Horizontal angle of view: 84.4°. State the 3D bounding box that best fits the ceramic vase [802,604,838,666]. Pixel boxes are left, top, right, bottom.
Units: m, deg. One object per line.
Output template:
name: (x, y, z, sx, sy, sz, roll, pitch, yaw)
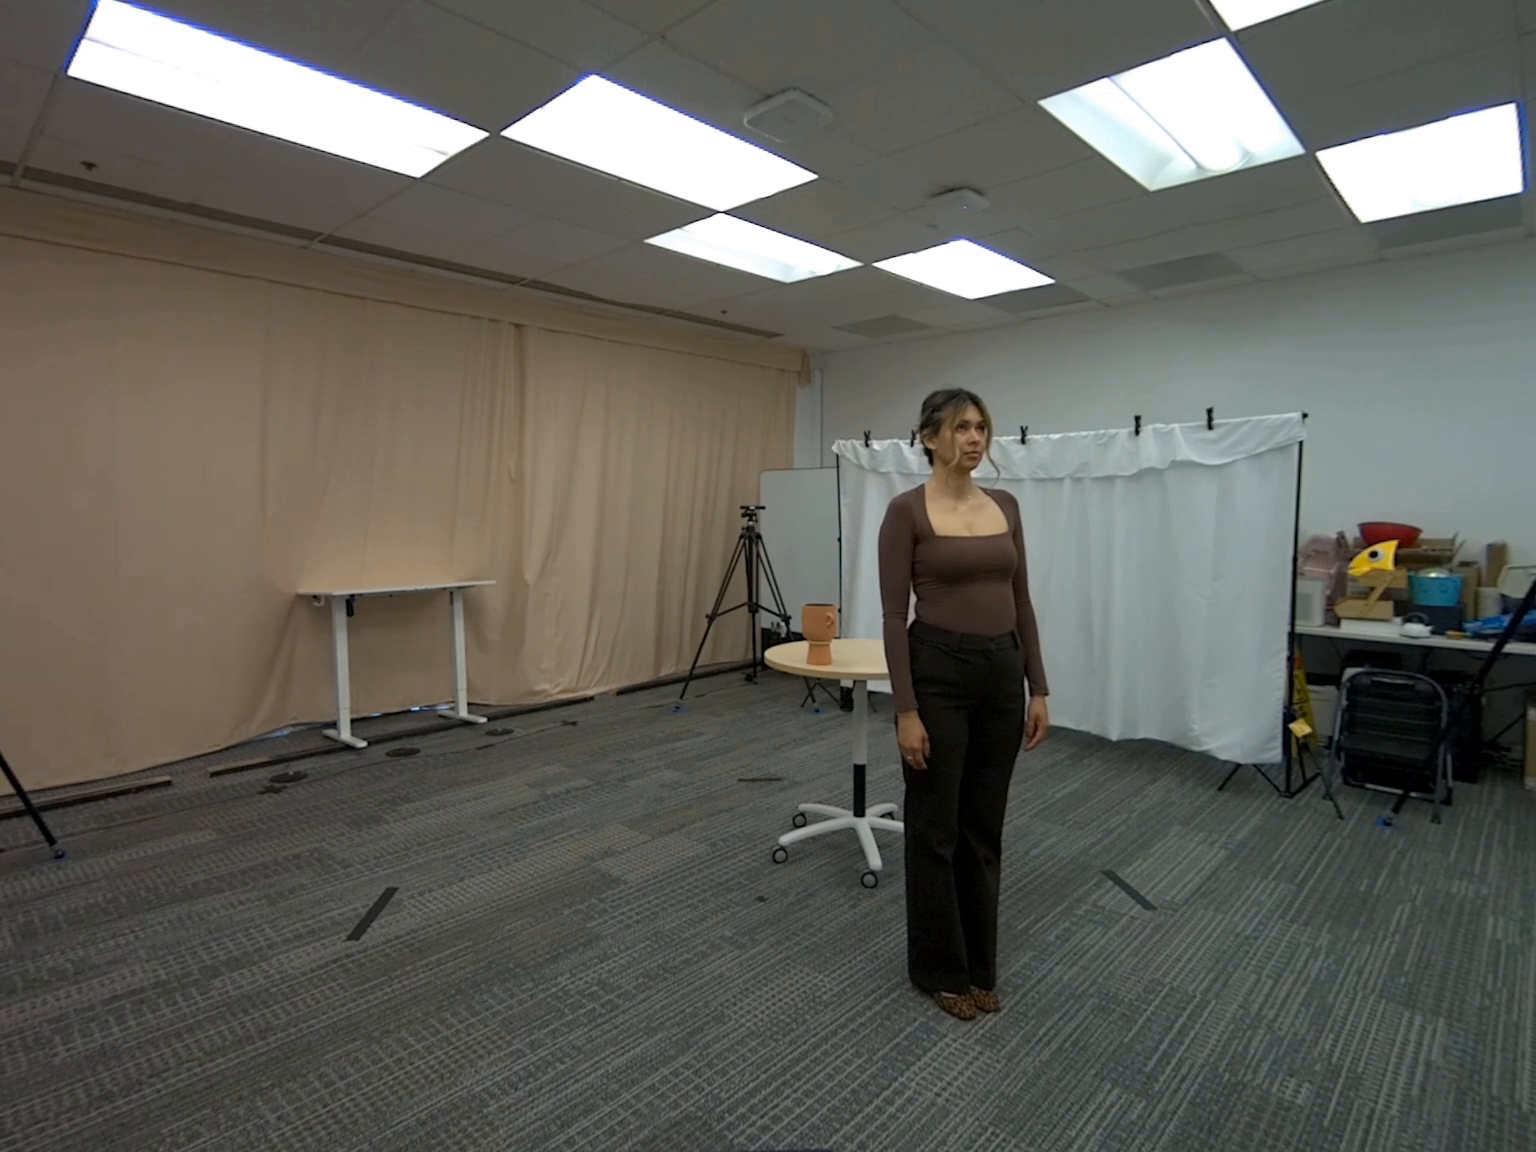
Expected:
ceramic vase: (0.200, 0.221, 3.183, 0.136, 0.219, 0.157, 0, 4, 12)
